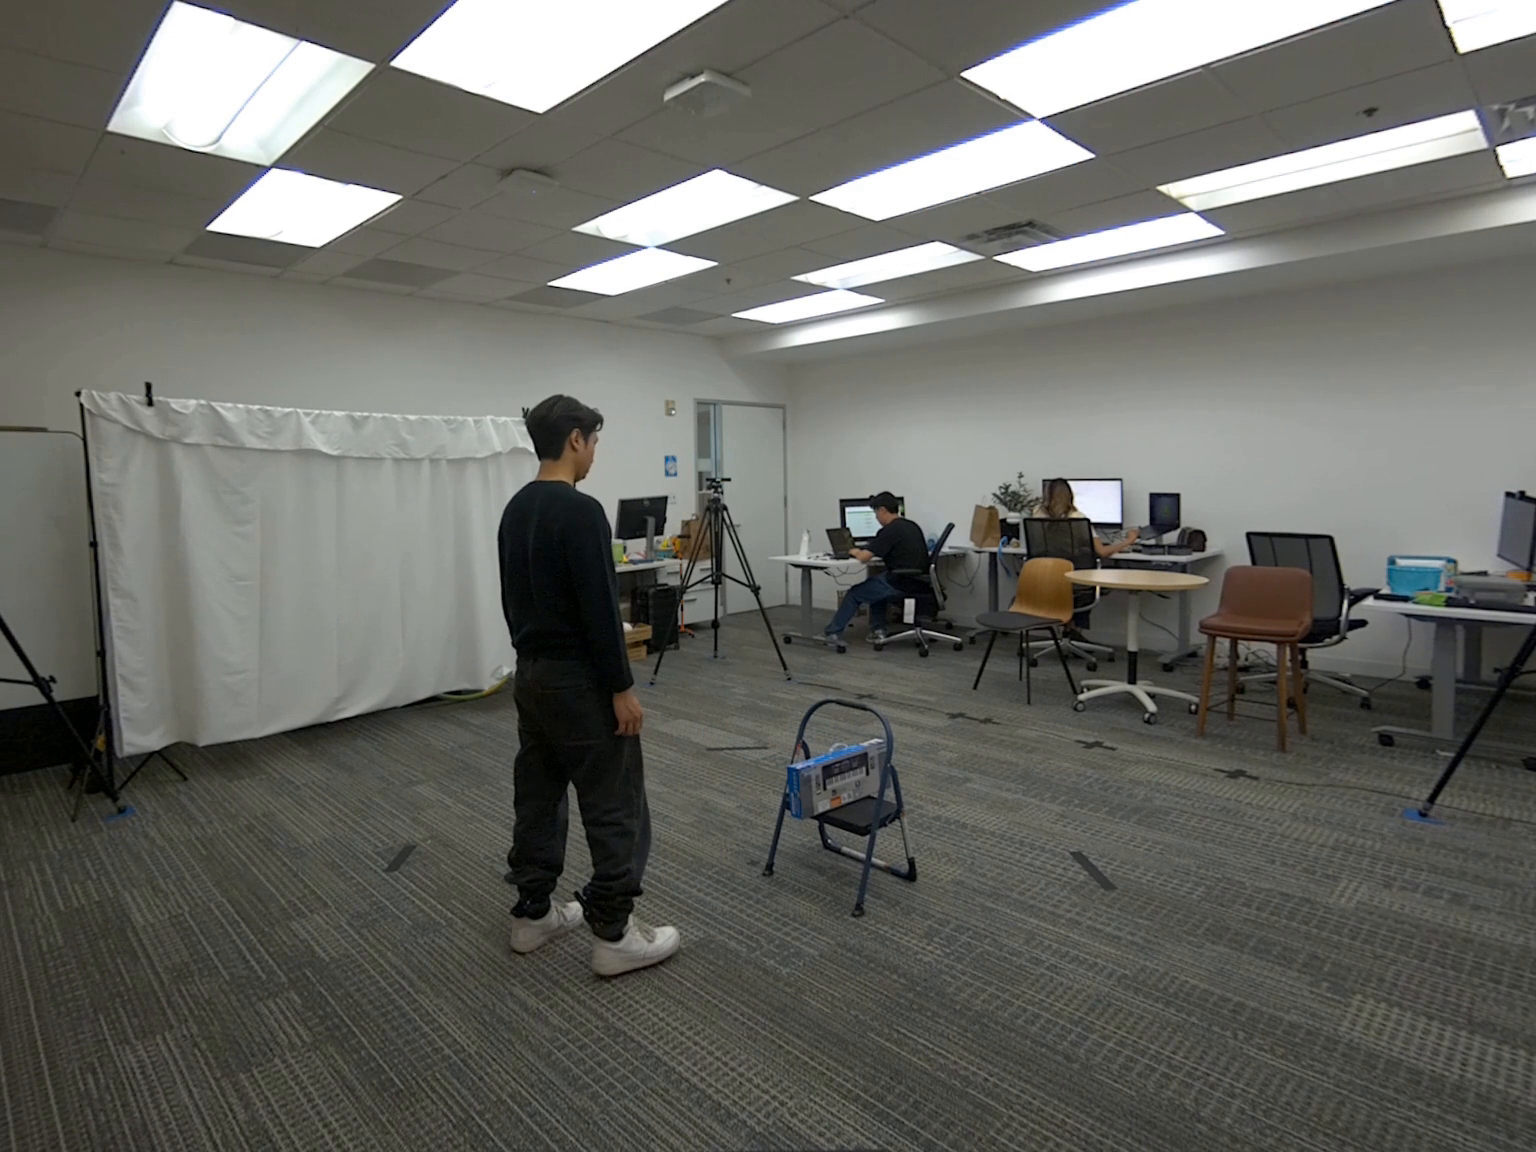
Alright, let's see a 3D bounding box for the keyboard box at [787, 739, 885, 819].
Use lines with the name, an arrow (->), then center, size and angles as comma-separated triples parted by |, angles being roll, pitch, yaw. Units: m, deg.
keyboard box -> 0.254, 0.701, 2.980 | 0.426, 0.176, 0.061 | -7, 3, -38
